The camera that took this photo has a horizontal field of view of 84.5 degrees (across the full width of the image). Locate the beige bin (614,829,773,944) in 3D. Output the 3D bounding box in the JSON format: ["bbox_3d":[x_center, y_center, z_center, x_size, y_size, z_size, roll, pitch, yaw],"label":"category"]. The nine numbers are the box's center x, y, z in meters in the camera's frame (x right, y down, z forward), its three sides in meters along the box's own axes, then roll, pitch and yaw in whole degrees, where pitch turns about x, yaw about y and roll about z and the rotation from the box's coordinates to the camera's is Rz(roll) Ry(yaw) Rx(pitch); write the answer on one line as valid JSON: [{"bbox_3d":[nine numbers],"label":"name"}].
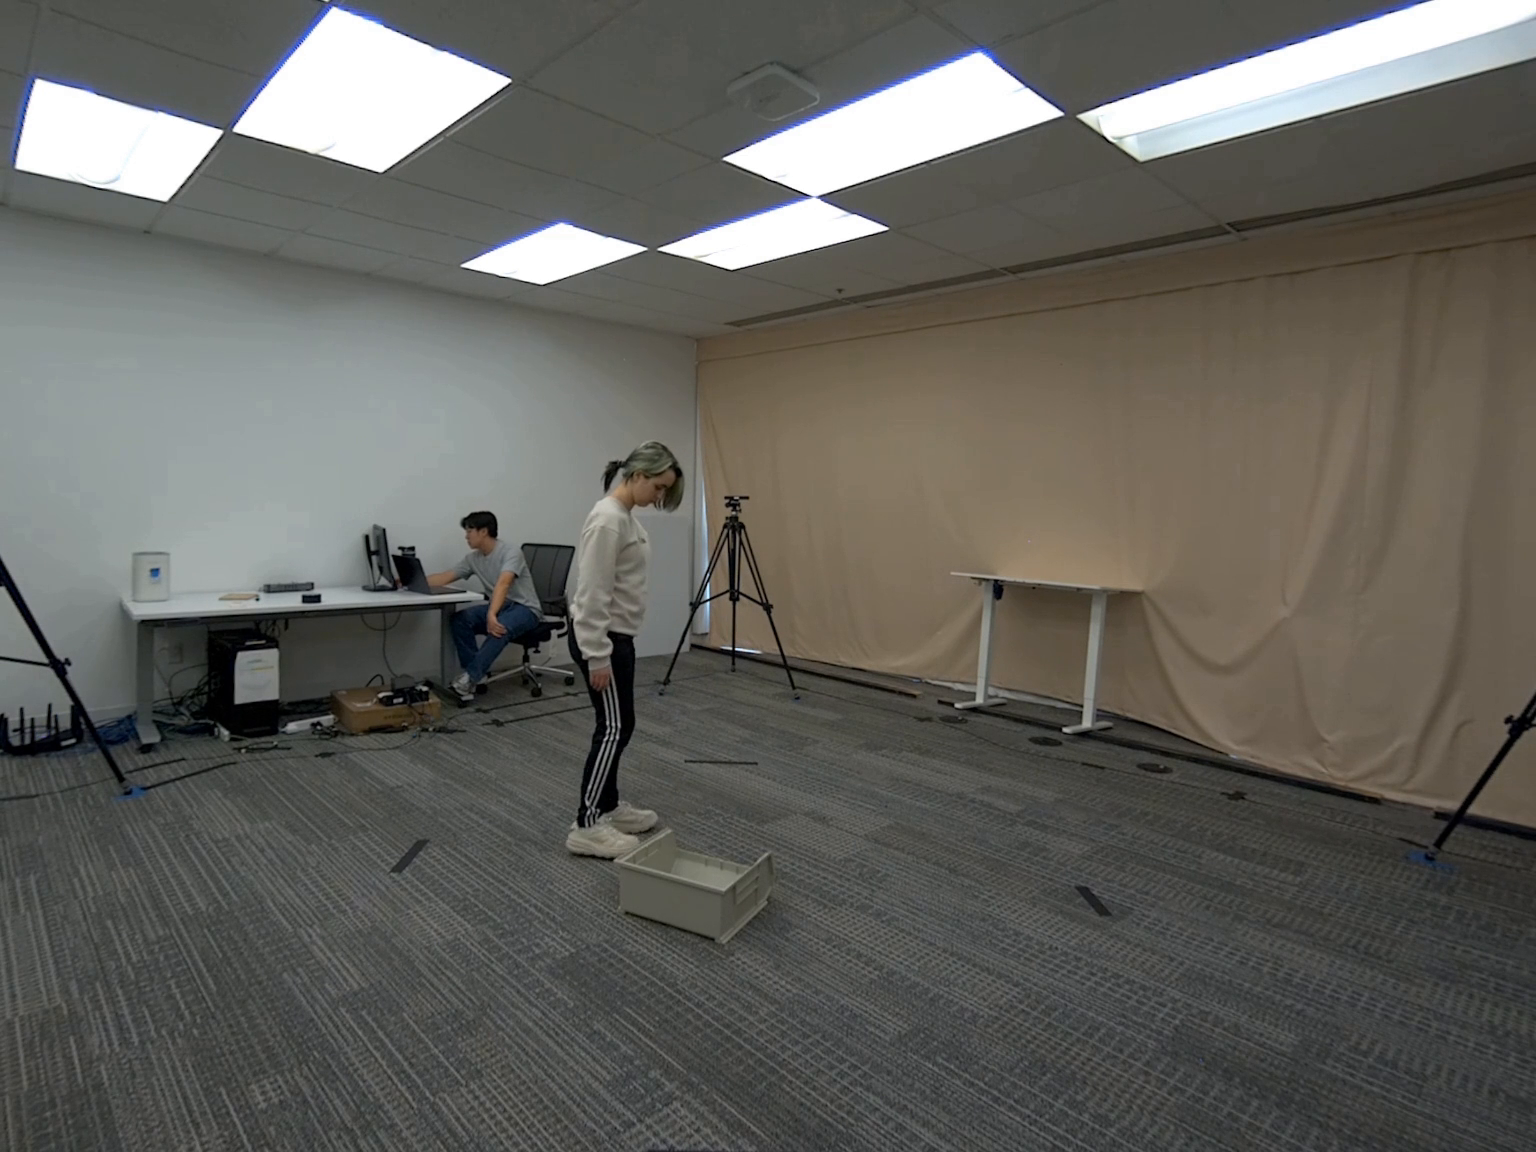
[{"bbox_3d":[-0.249,1.036,2.860,0.431,0.188,0.371,4,6,27],"label":"beige bin"}]
